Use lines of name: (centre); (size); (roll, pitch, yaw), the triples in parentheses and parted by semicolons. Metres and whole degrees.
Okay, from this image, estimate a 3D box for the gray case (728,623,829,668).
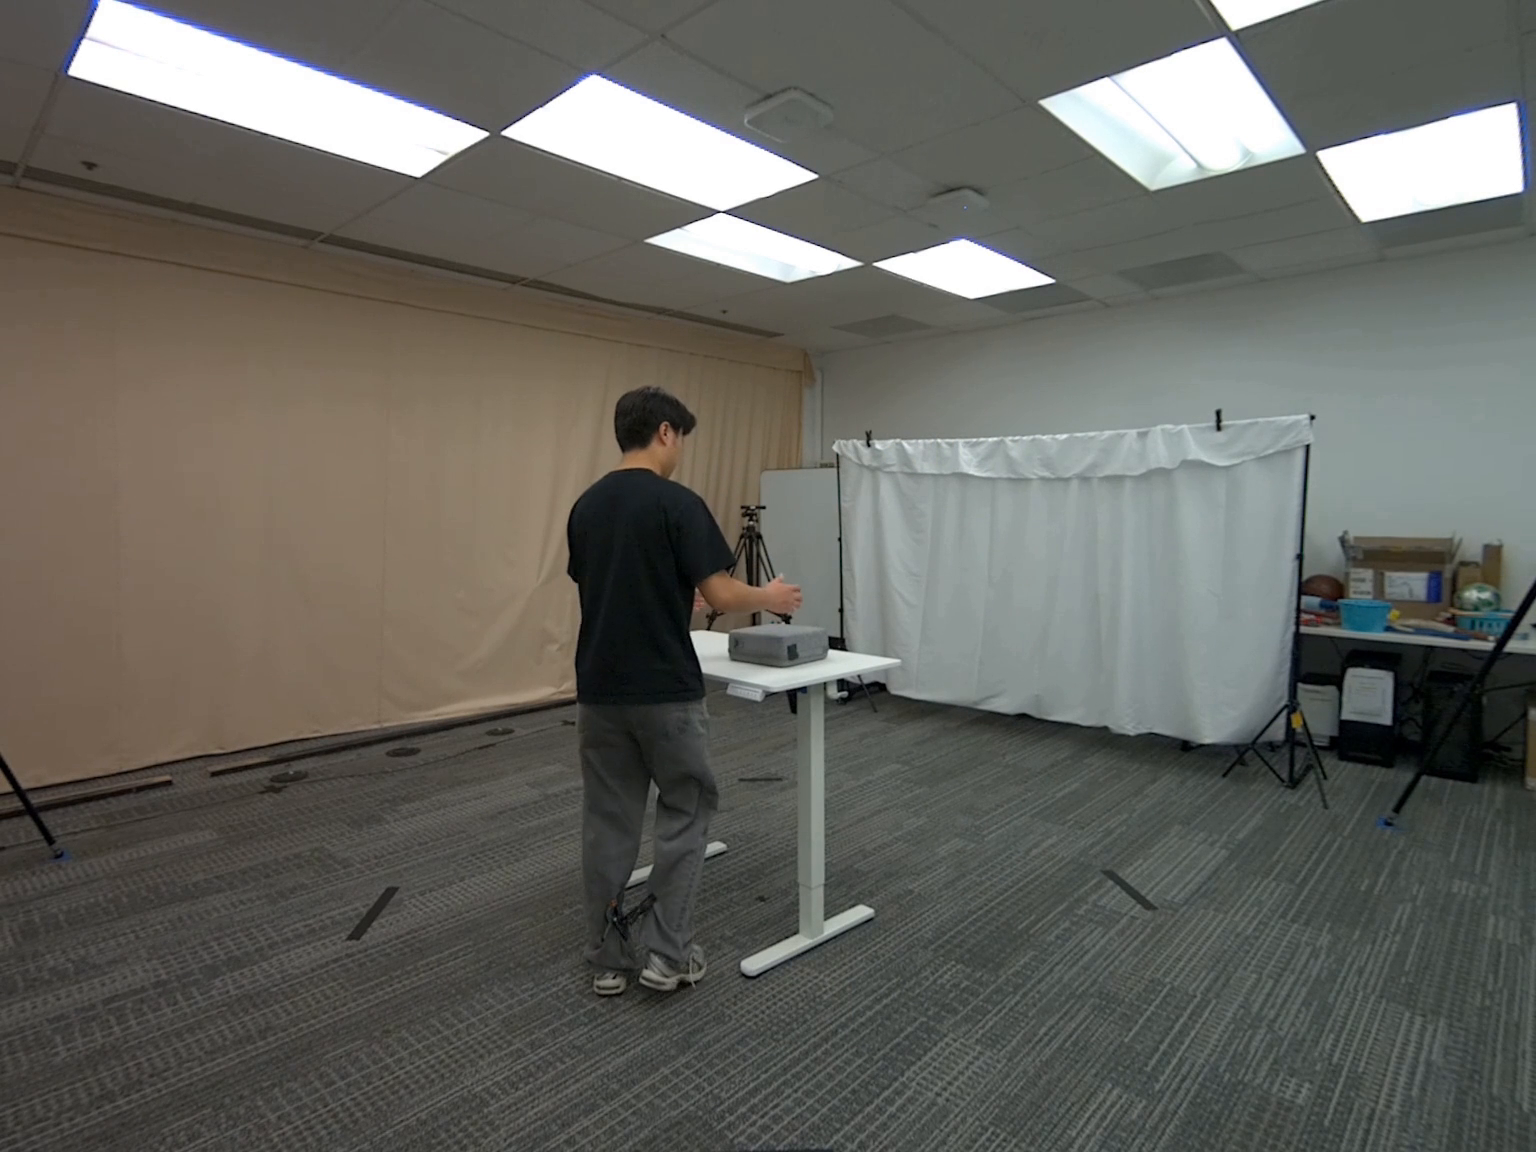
gray case: (0.028, 0.224, 2.787); (0.296, 0.103, 0.255); (3, 6, 40)
